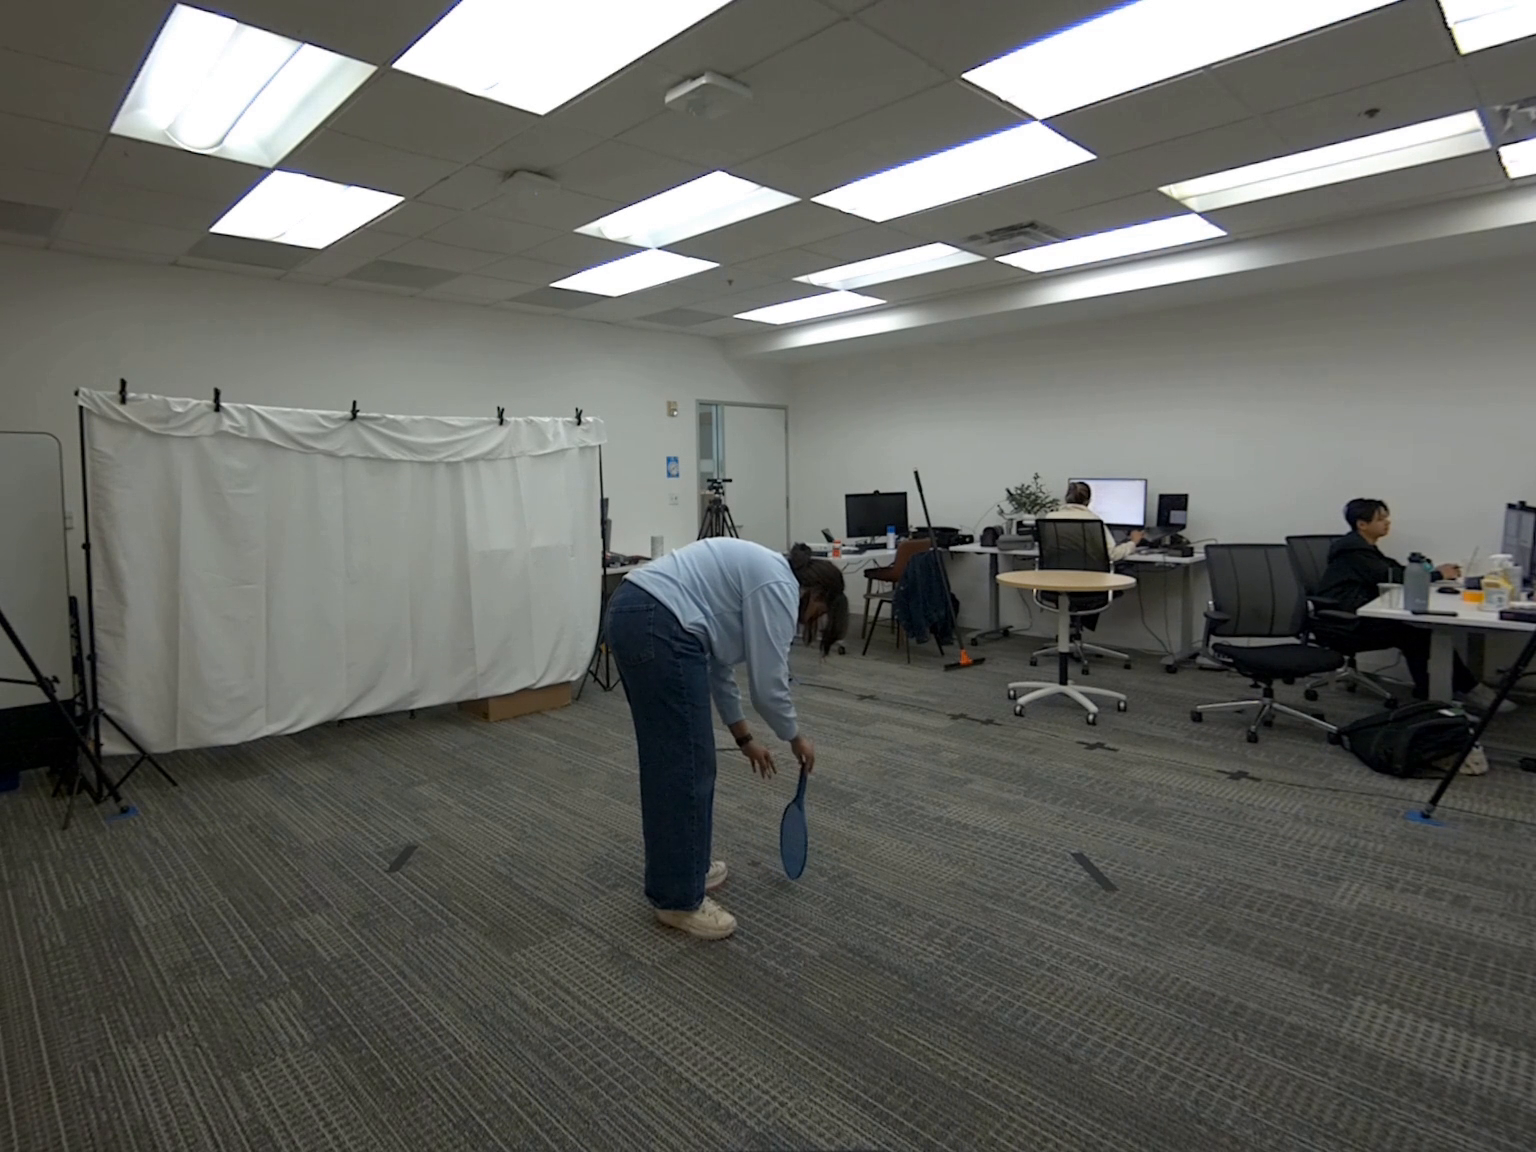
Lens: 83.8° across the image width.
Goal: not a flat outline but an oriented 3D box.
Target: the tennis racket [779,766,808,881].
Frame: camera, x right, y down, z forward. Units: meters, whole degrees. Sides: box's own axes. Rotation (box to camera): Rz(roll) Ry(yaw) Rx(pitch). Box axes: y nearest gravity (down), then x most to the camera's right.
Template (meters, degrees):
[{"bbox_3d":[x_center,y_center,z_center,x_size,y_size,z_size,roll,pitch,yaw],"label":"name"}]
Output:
[{"bbox_3d":[0.105,0.834,2.934,0.031,0.430,0.219,3,10,-18],"label":"tennis racket"}]
